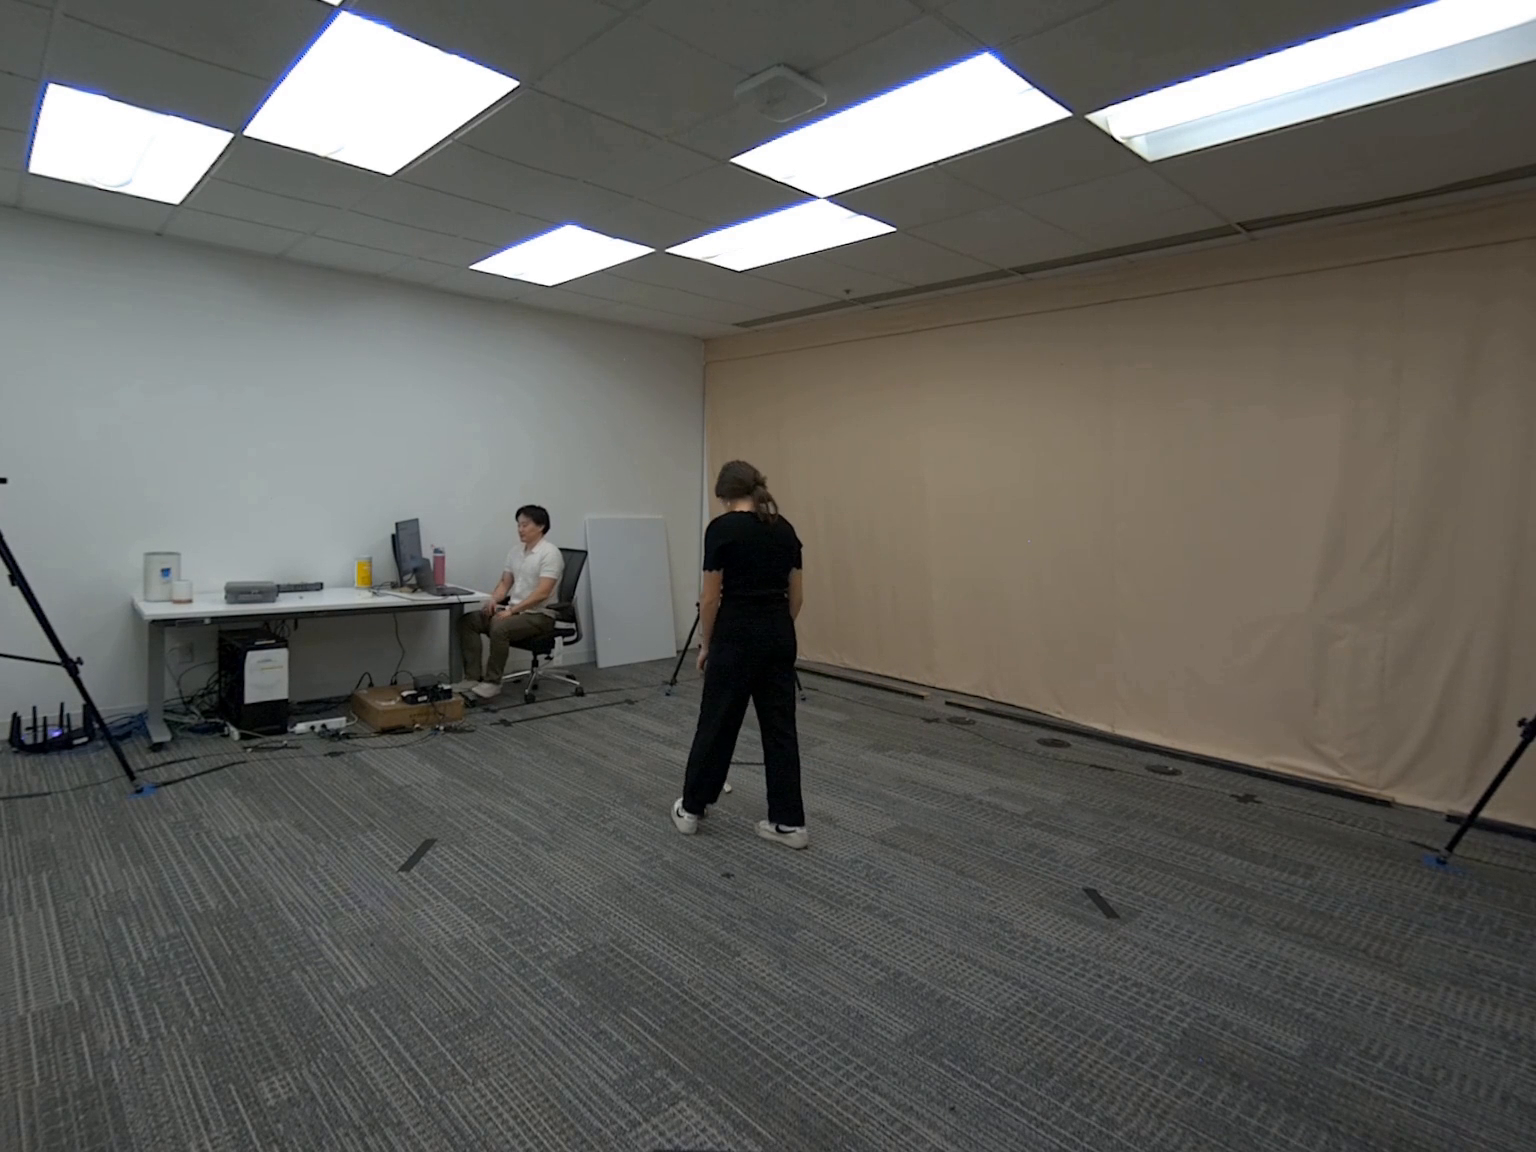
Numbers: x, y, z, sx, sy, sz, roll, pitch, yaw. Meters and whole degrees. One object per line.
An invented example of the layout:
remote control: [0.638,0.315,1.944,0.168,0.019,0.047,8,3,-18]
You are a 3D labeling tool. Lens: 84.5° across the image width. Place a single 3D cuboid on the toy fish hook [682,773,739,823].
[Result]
toy fish hook: [-0.276,1.015,3.904,0.223,0.048,0.511,-1,5,-7]
